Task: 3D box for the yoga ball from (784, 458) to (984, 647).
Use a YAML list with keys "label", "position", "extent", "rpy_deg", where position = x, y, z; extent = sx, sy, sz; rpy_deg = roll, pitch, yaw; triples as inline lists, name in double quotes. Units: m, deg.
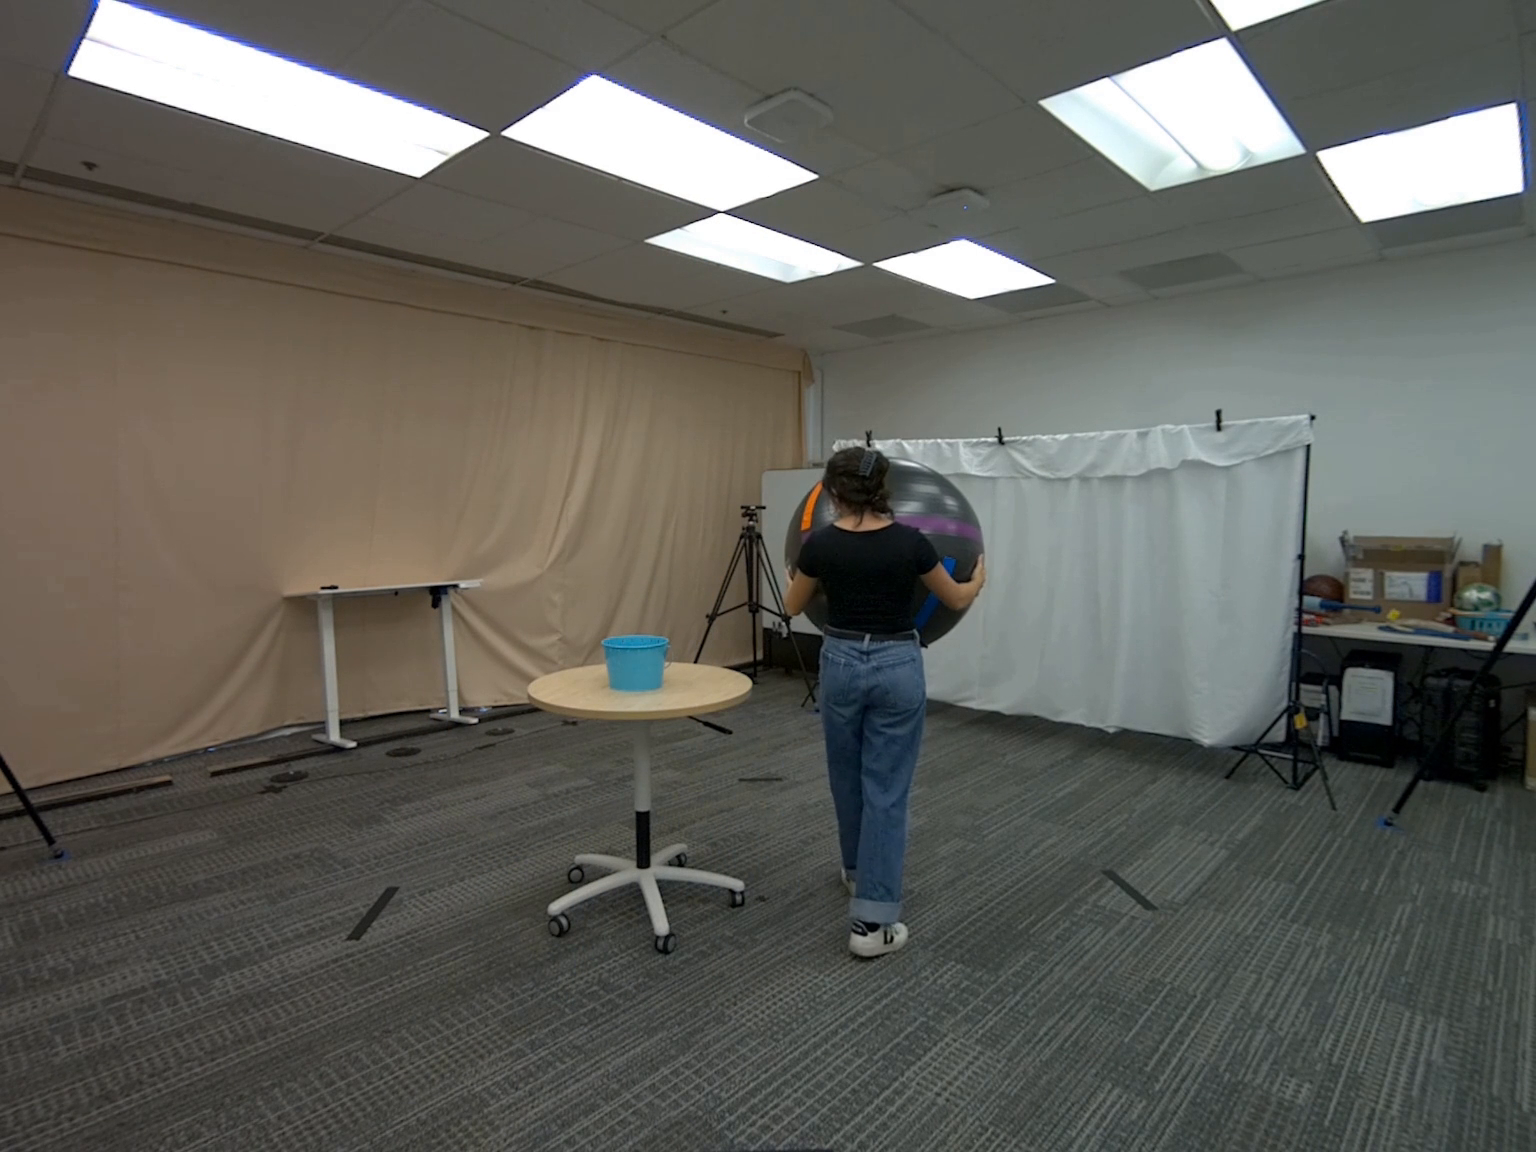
- label: "yoga ball"
  position: [0.453, -0.076, 3.272]
  extent: [0.757, 0.756, 0.760]
  rpy_deg: [0, 4, -2]
